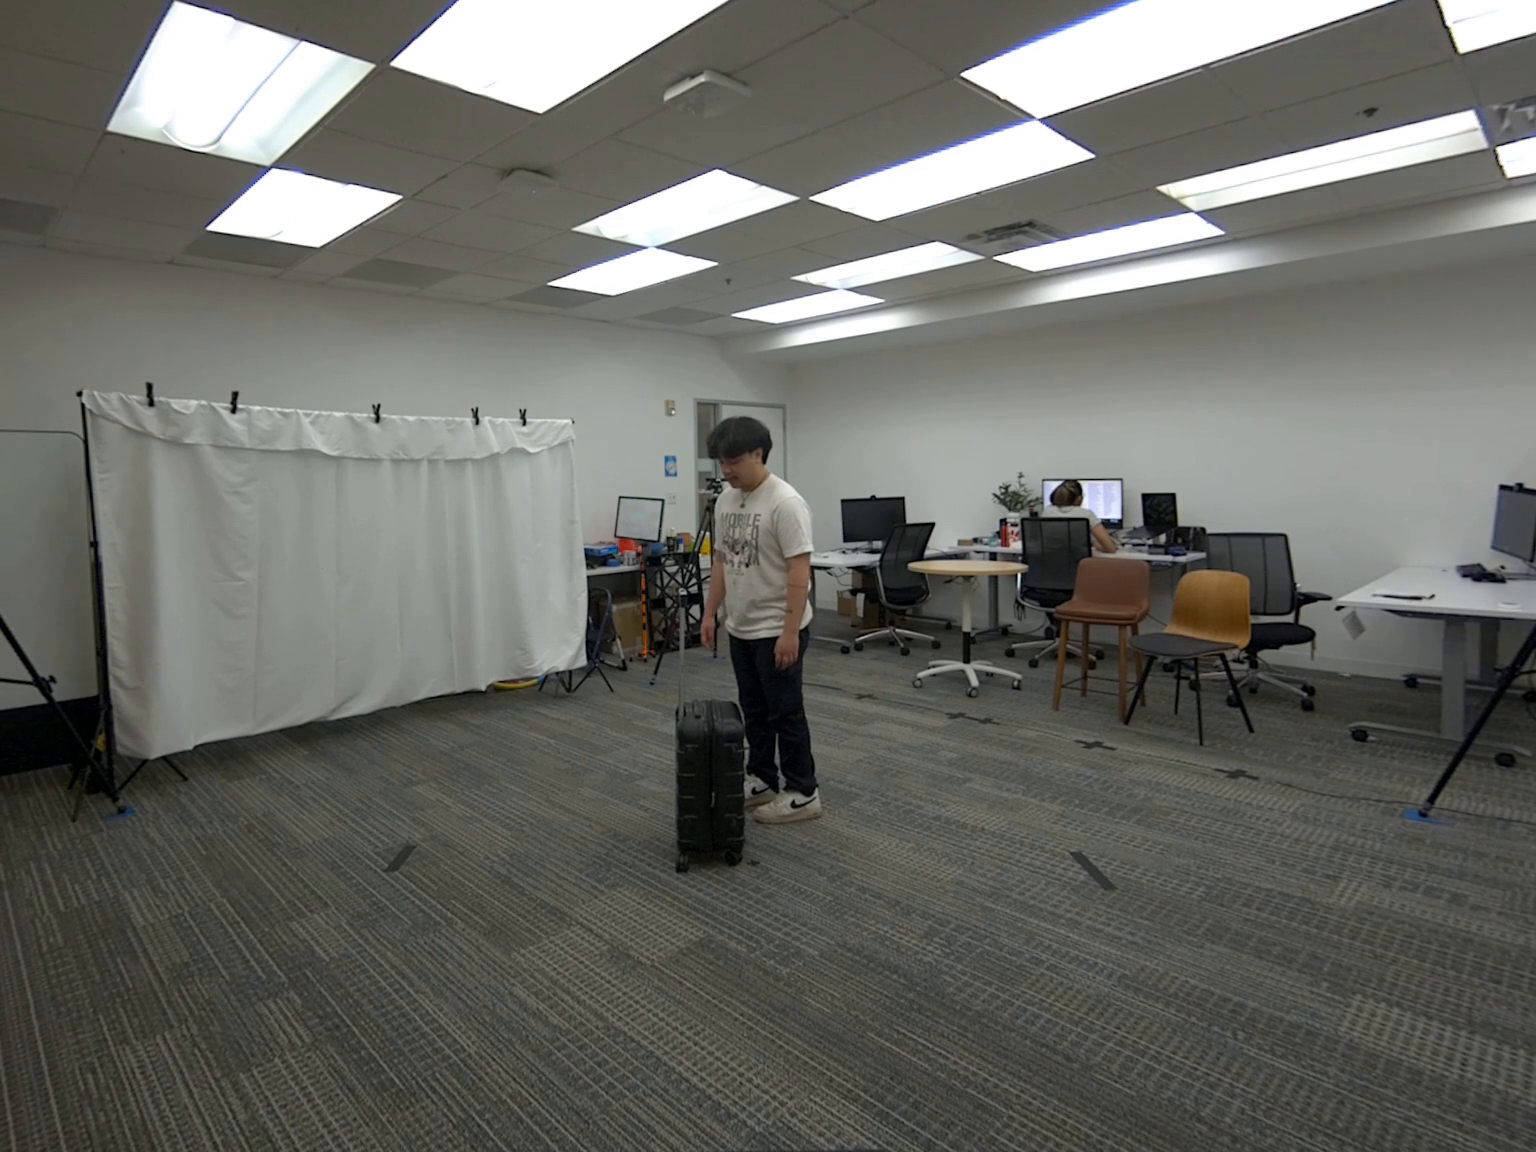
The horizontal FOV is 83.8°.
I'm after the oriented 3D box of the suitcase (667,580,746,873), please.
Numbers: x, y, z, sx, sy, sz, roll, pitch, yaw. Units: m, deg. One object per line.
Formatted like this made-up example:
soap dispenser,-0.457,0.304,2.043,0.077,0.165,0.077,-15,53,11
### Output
suitcase,-0.218,0.560,3.199,0.256,0.975,0.387,2,4,-5
